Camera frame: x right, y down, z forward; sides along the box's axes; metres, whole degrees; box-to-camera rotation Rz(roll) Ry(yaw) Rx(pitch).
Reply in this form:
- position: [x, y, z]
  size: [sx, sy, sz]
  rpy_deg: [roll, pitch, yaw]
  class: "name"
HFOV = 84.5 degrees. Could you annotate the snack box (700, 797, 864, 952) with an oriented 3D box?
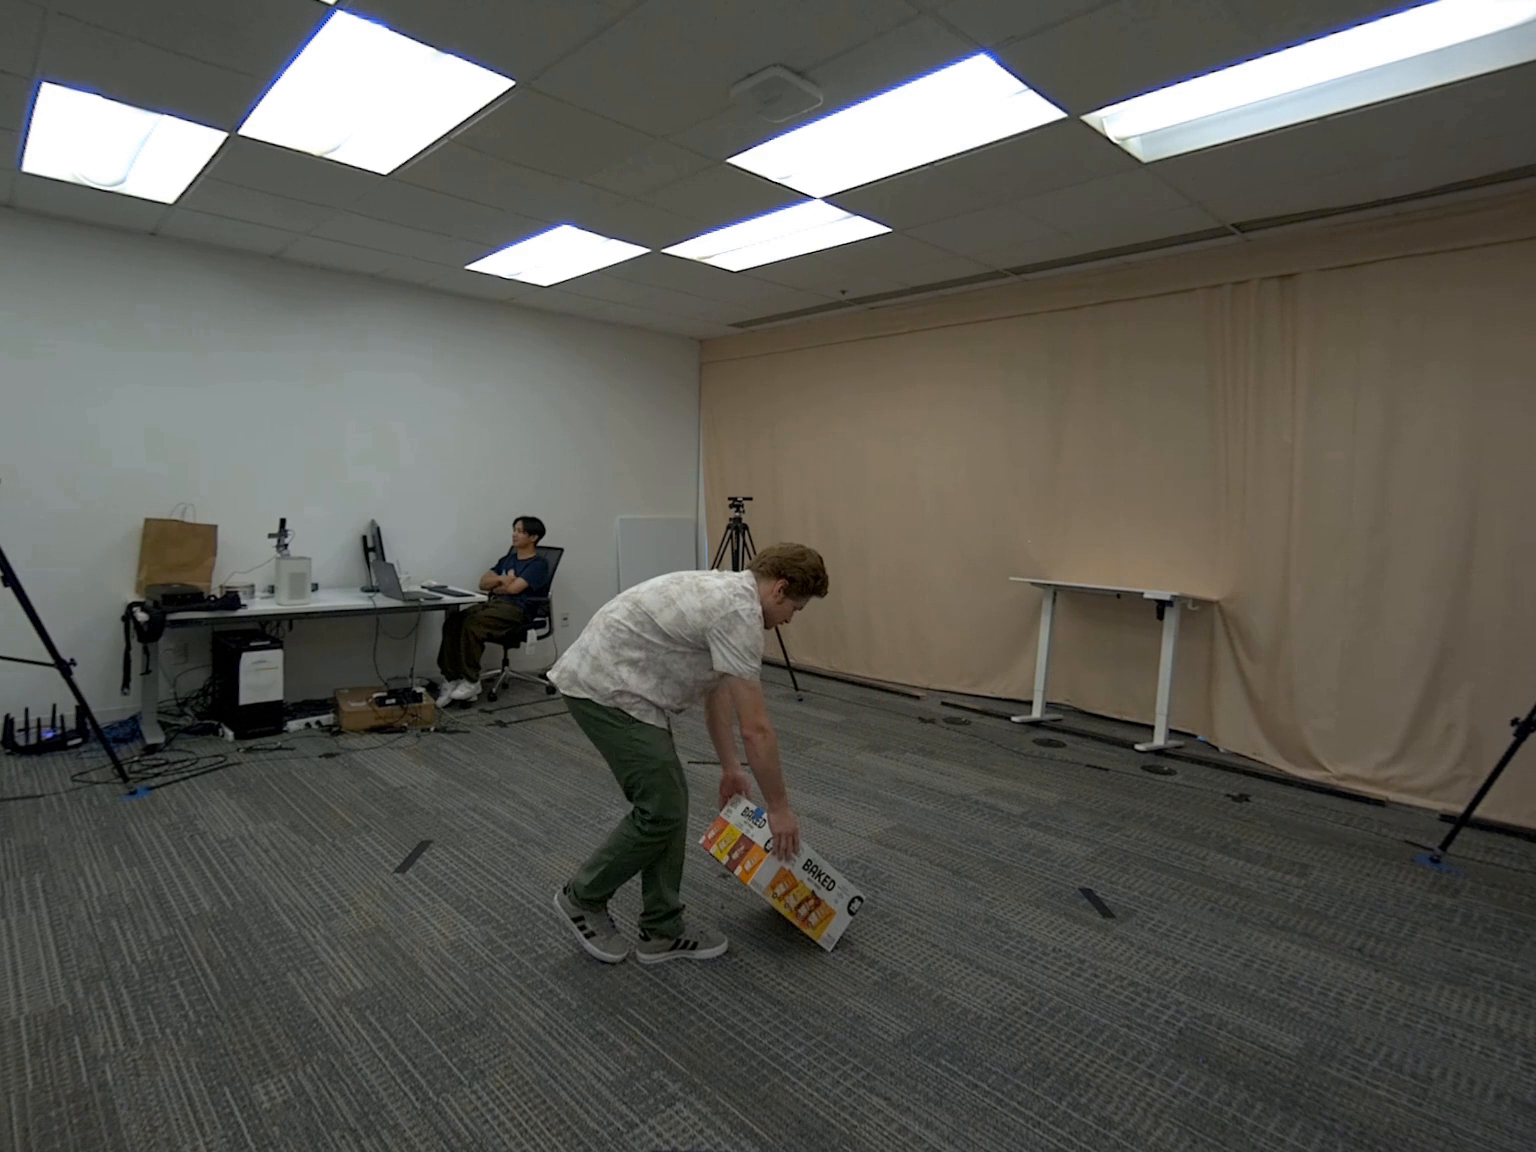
- position: [0.035, 0.941, 2.692]
  size: [0.396, 0.206, 0.348]
  rpy_deg: [47, -17, -24]
  class: "snack box"
